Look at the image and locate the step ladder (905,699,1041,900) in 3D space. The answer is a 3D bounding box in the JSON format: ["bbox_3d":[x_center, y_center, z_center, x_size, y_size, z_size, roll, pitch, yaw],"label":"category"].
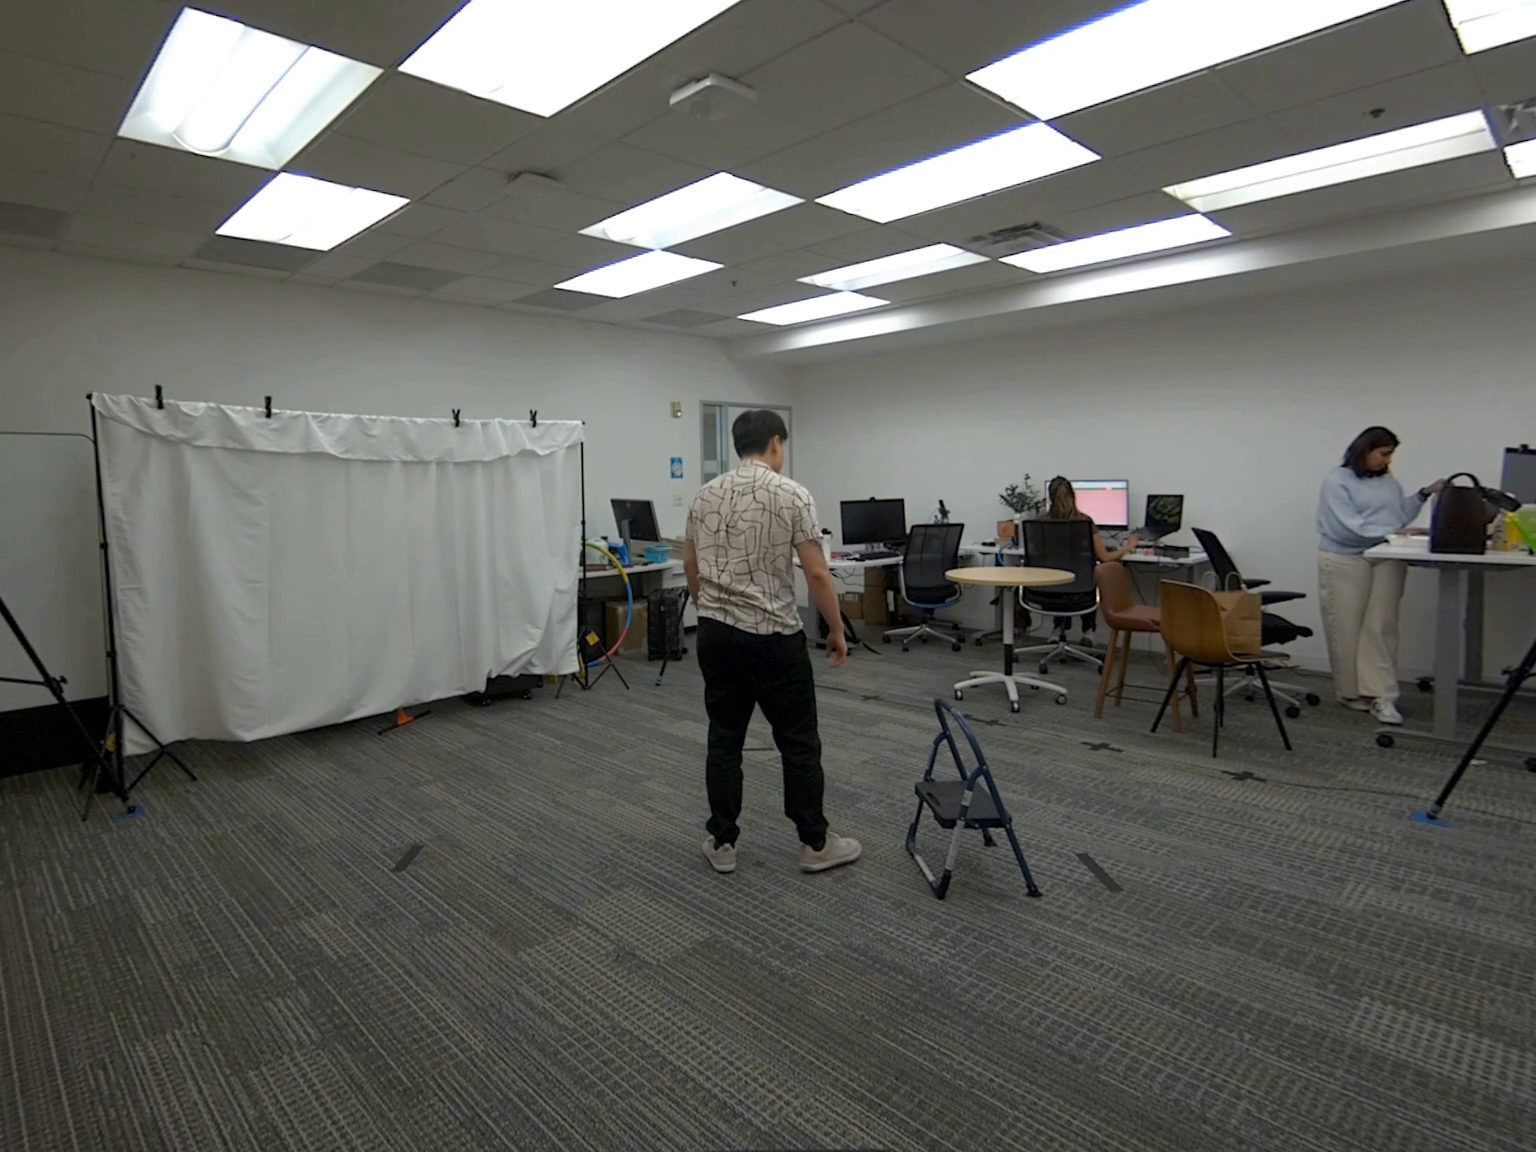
[{"bbox_3d":[0.707,0.745,3.010,0.348,0.604,0.434,-1,4,-5],"label":"step ladder"}]
